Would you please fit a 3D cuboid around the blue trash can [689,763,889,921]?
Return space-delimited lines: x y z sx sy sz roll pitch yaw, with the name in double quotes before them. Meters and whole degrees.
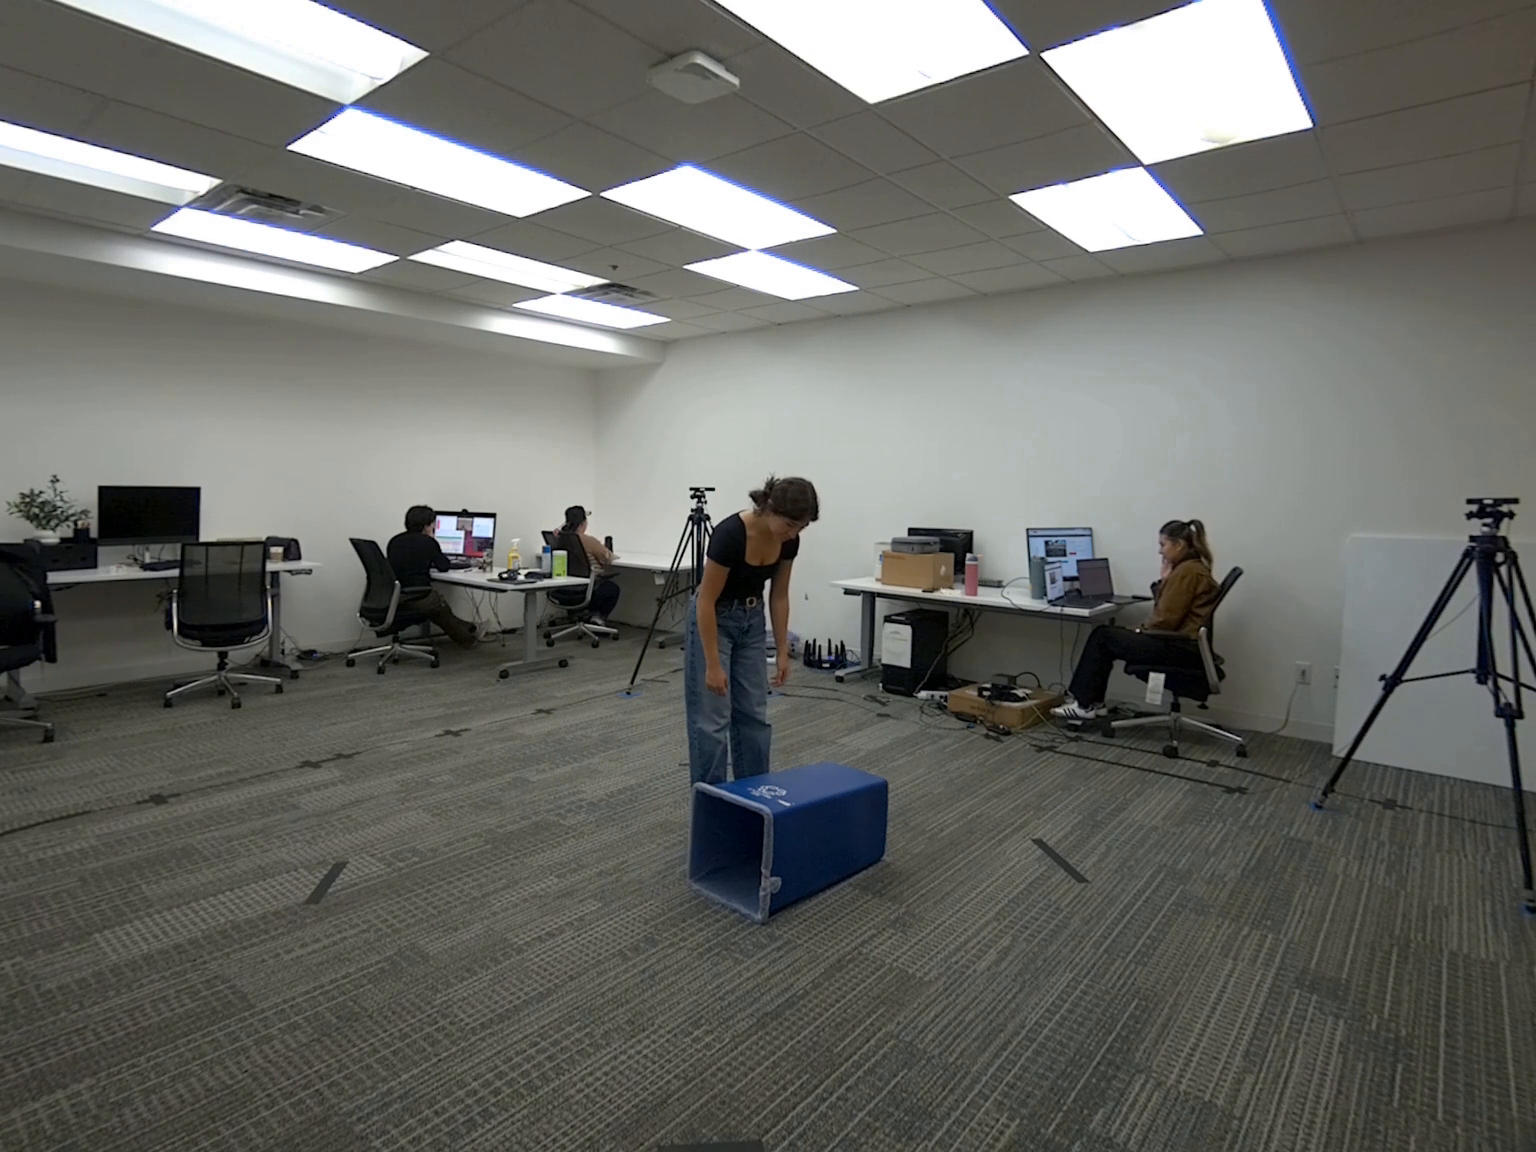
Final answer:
"blue trash can" 0.088 0.910 3.076 0.387 0.378 0.690 4 3 43
